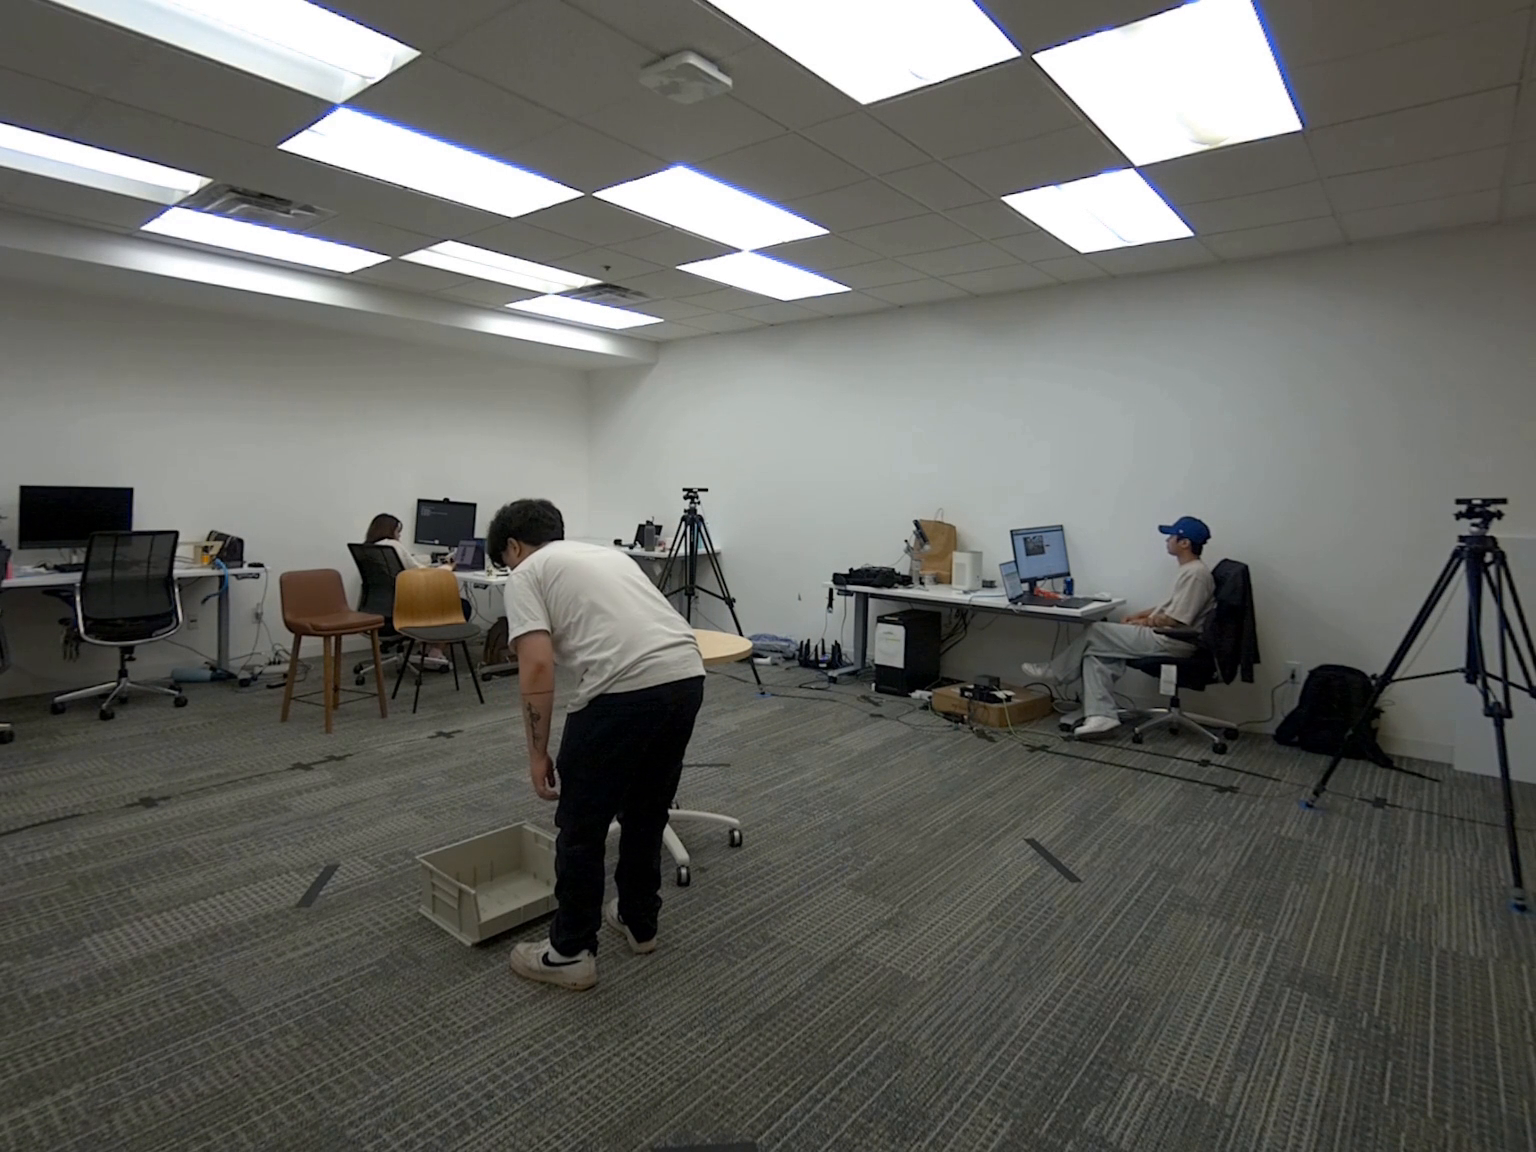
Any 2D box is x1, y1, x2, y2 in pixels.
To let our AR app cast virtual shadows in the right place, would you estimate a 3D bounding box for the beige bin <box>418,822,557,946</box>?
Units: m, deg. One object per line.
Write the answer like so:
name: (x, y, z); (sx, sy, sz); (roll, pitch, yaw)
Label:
beige bin: (-0.880, 1.001, 2.792); (0.390, 0.188, 0.410); (4, 7, 40)
